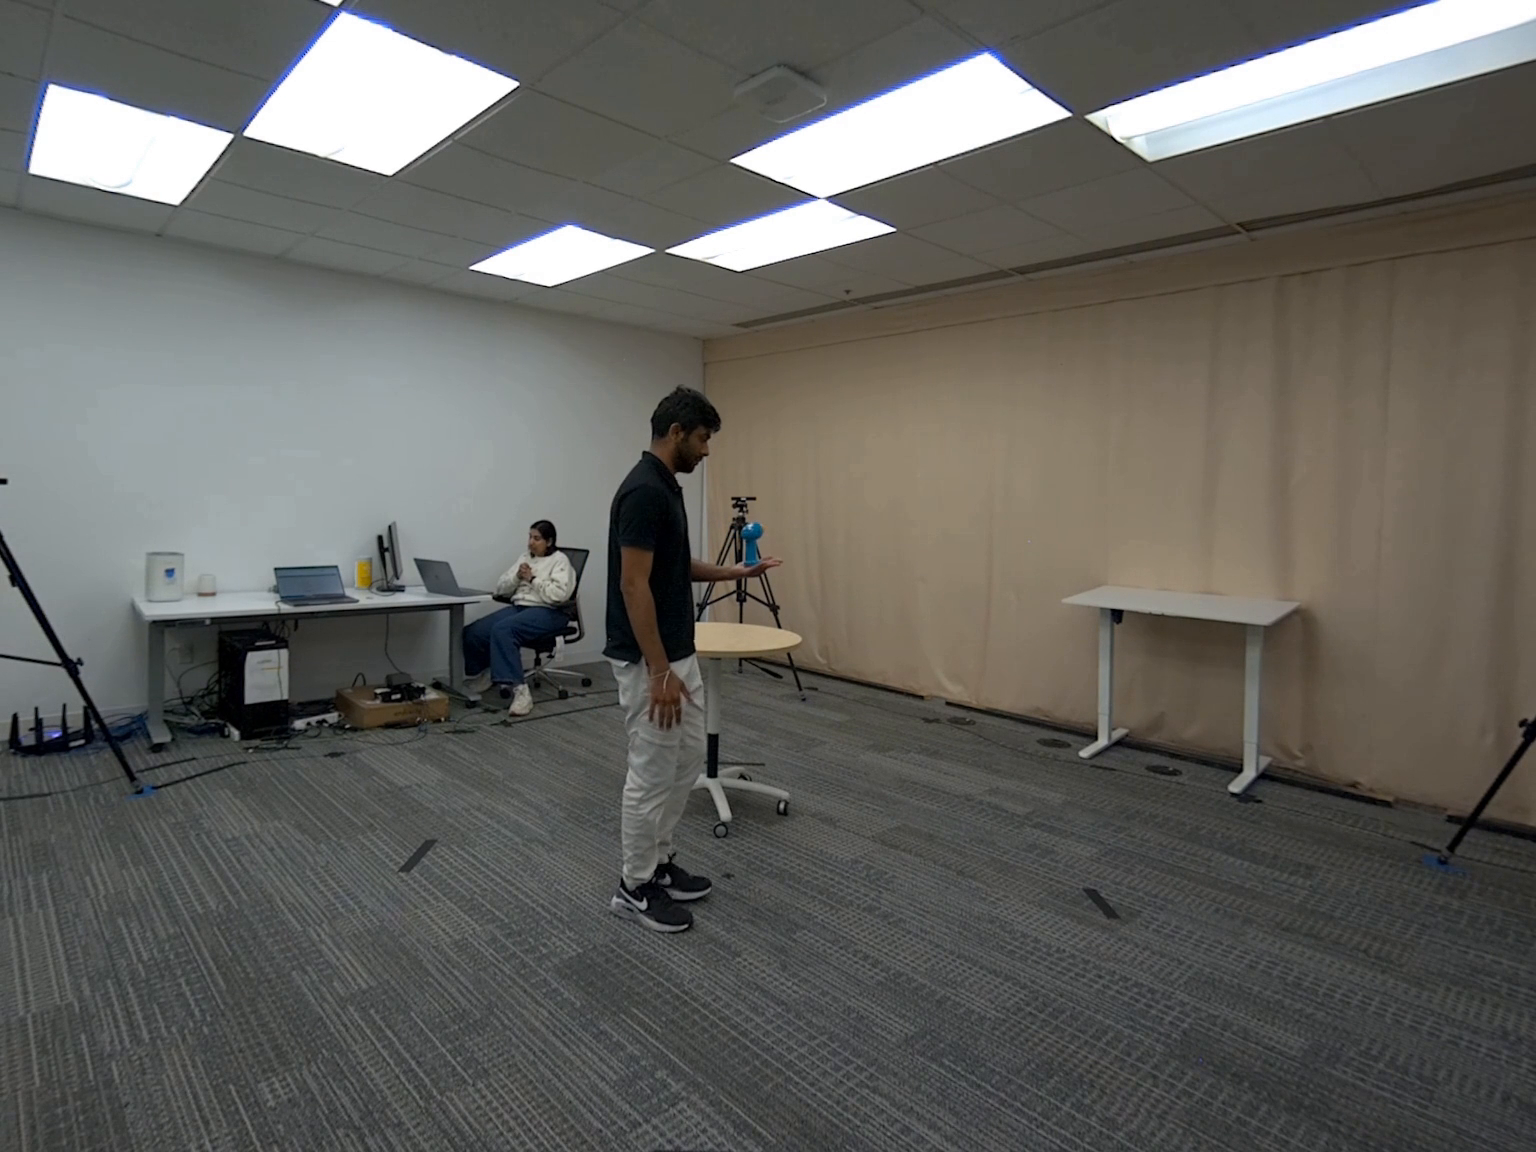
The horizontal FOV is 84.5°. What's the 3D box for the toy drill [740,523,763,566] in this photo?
[{"bbox_3d":[-0.048,-0.108,2.778,0.062,0.145,0.168,1,9,20],"label":"toy drill"}]
